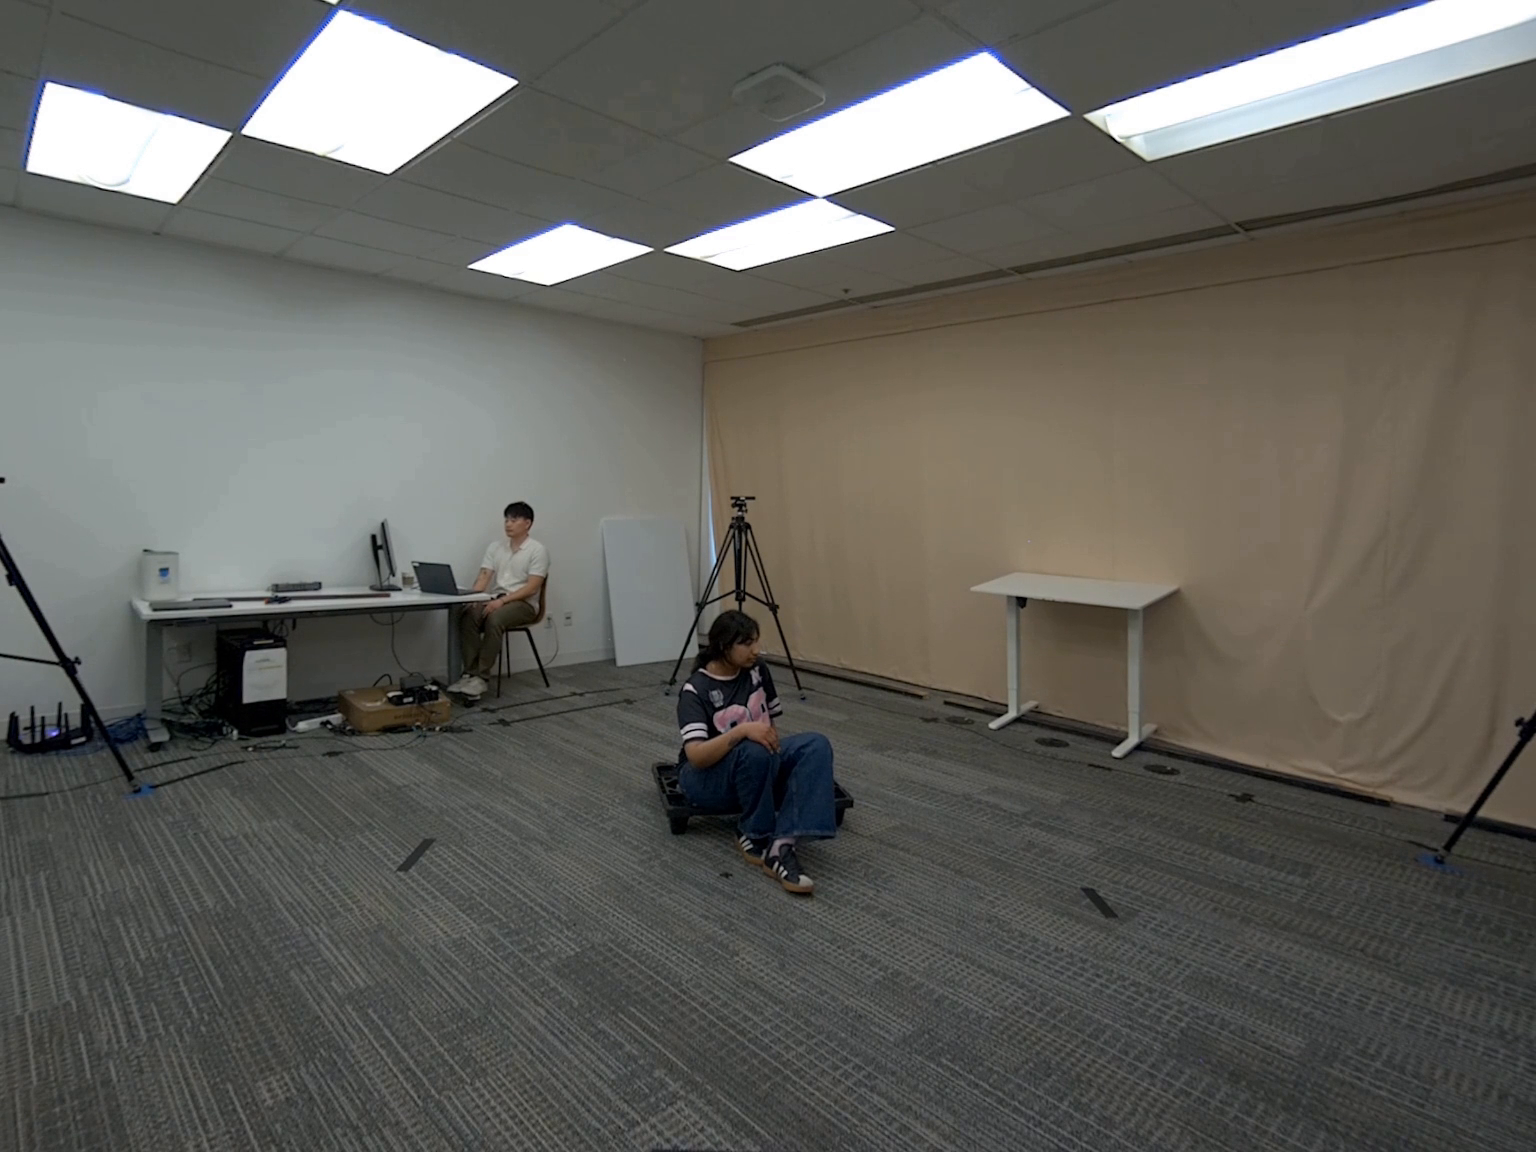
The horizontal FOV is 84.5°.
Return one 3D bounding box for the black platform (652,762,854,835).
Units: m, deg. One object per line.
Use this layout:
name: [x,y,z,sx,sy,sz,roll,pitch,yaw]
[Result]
black platform: [-0.094,0.979,3.767,0.798,0.143,0.612,0,5,-12]
